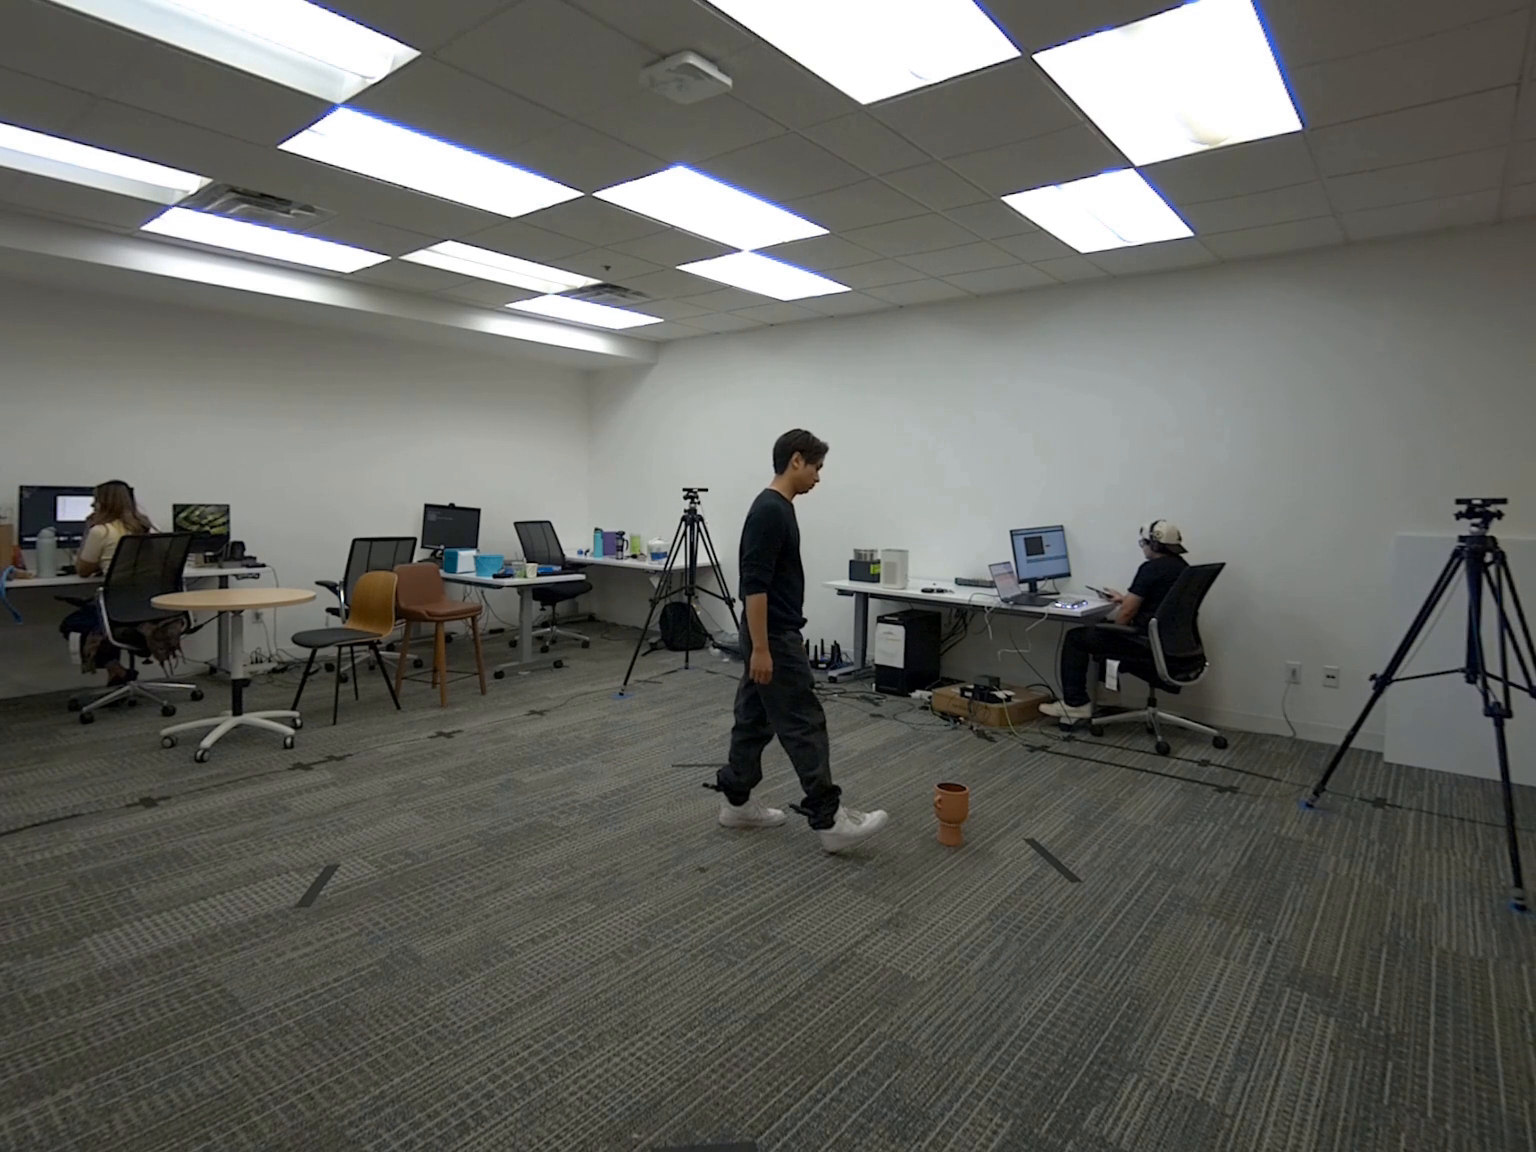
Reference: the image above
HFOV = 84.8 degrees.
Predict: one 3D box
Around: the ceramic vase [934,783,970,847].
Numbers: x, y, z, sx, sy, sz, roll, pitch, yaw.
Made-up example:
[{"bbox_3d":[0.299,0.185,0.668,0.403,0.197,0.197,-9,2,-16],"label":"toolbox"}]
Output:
[{"bbox_3d":[0.728,0.951,3.412,0.159,0.219,0.135,1,5,3],"label":"ceramic vase"}]
